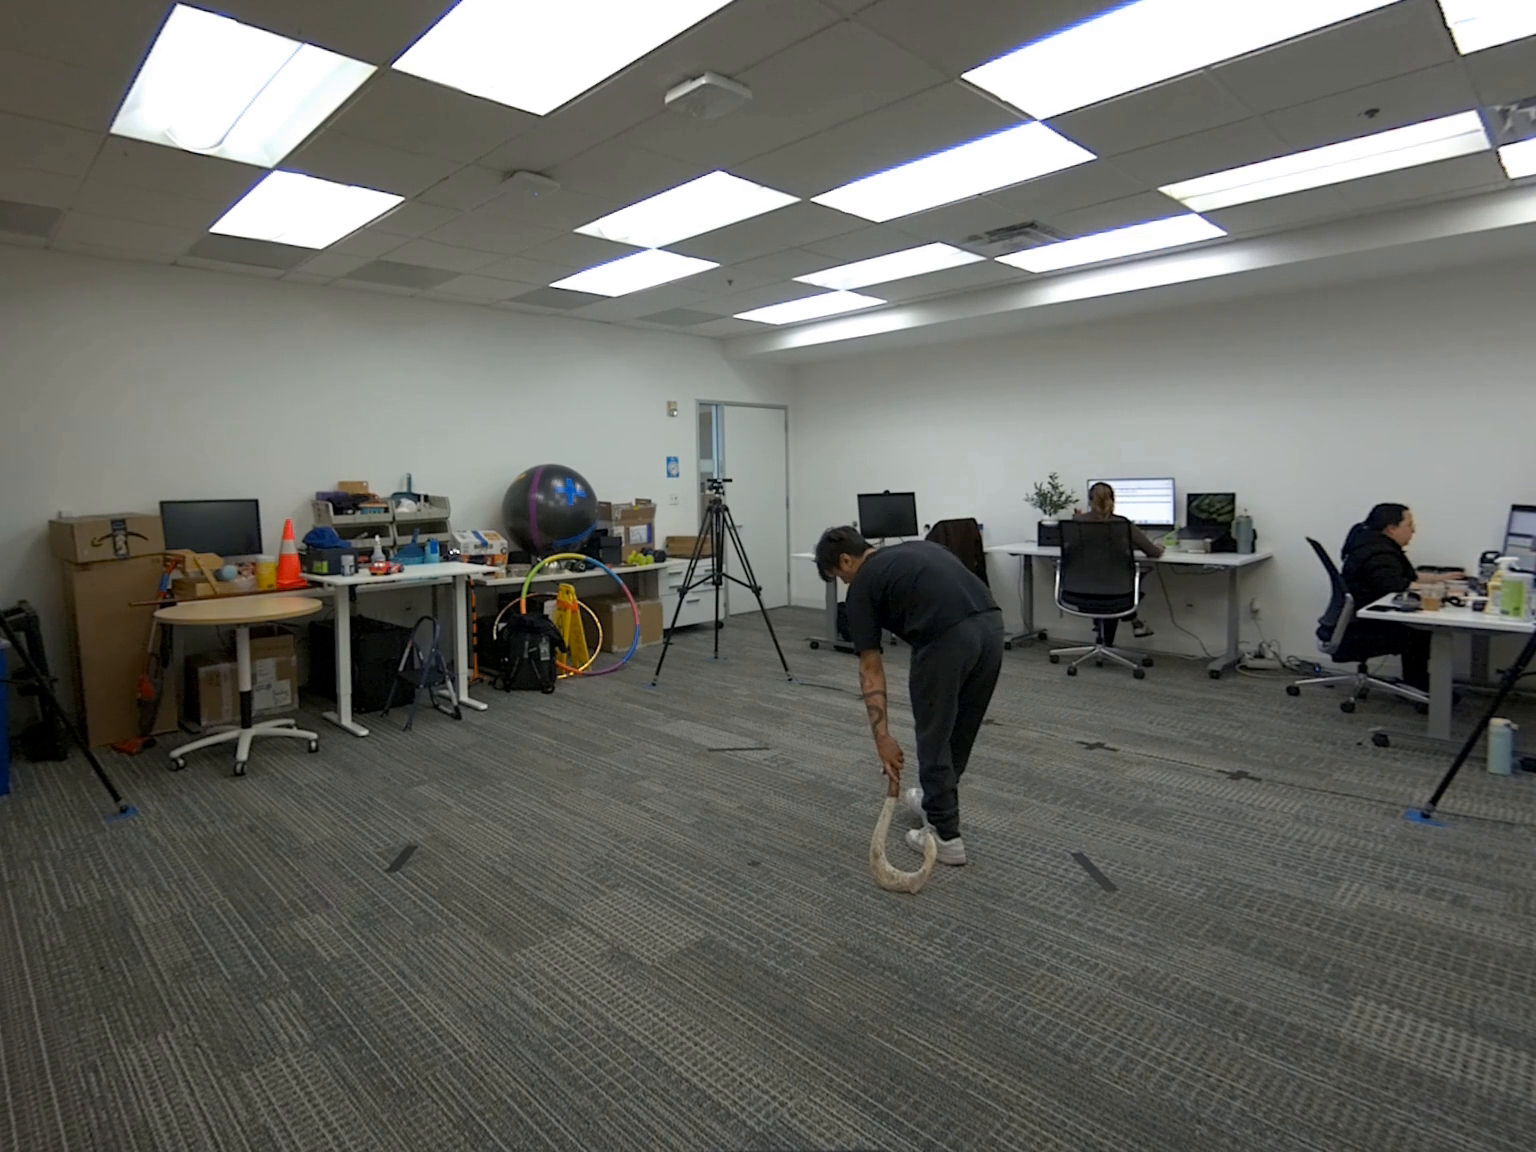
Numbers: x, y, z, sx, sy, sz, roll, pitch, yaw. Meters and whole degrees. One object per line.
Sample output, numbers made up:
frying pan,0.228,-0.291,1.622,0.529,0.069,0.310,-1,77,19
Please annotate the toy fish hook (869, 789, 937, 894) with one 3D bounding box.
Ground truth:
toy fish hook,0.476,0.833,2.984,0.228,0.516,0.046,-5,-26,18
